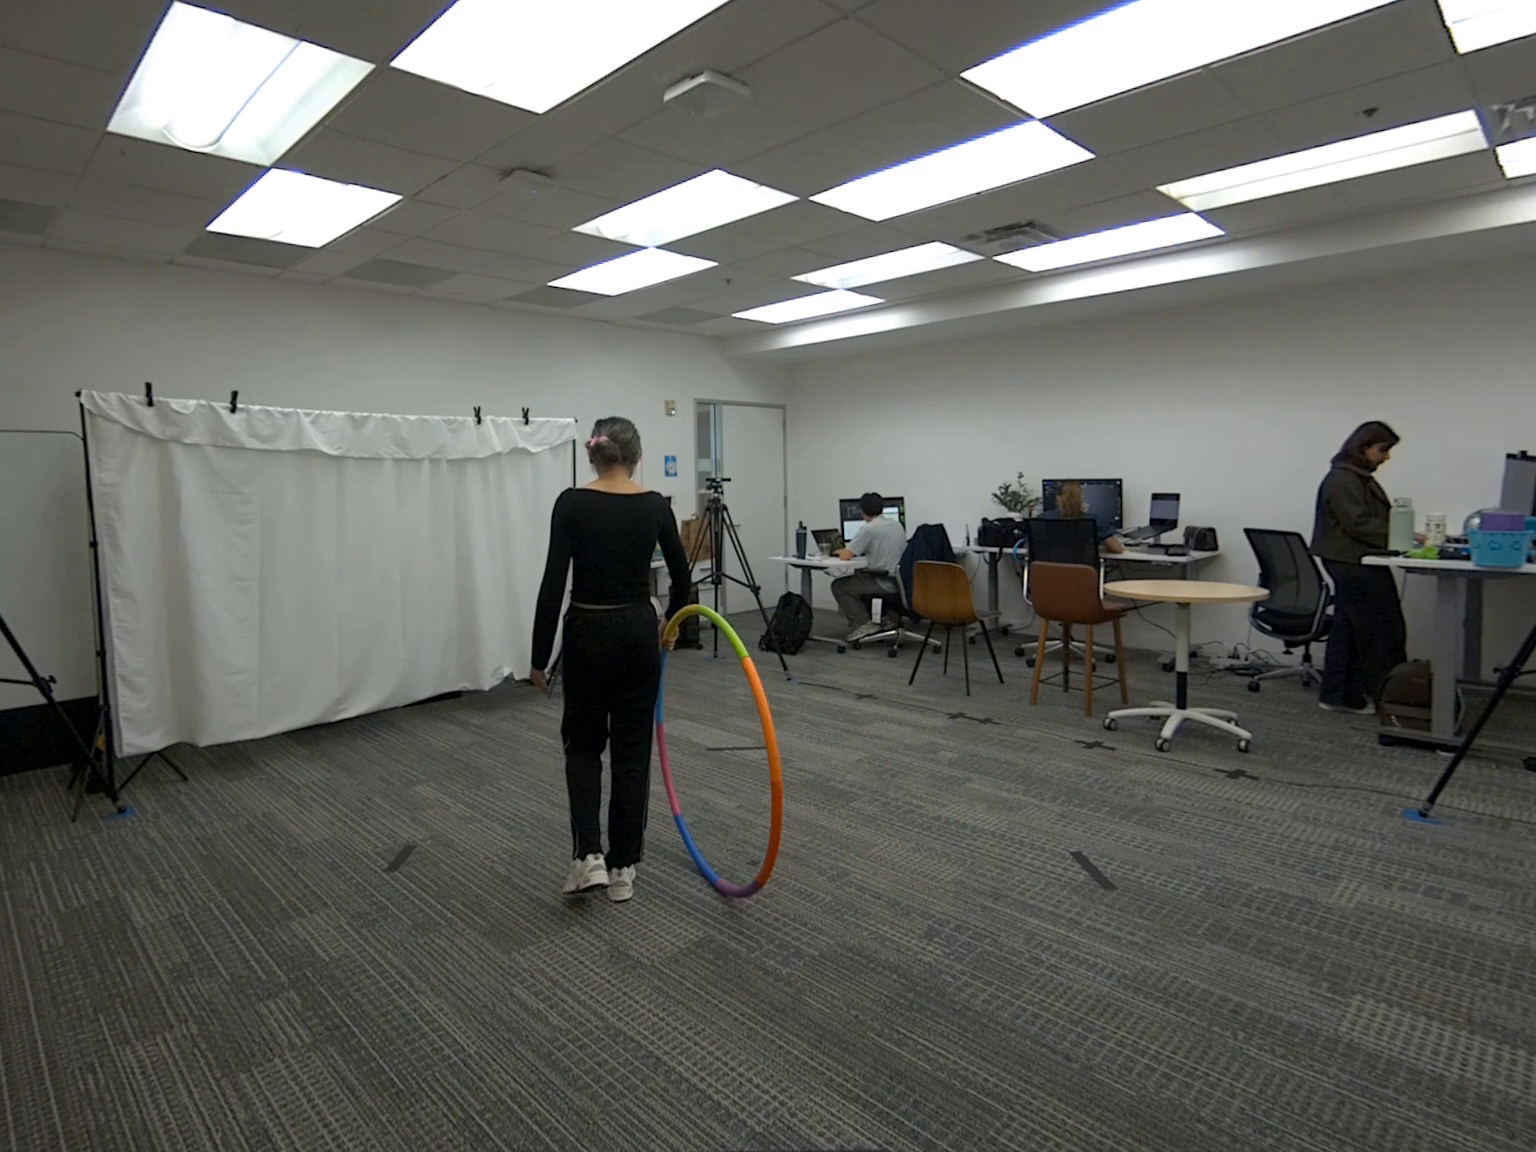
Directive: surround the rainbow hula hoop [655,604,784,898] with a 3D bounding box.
[{"bbox_3d":[-0.200,0.587,2.917,0.035,0.975,1.003,-3,5,-26],"label":"rainbow hula hoop"}]
